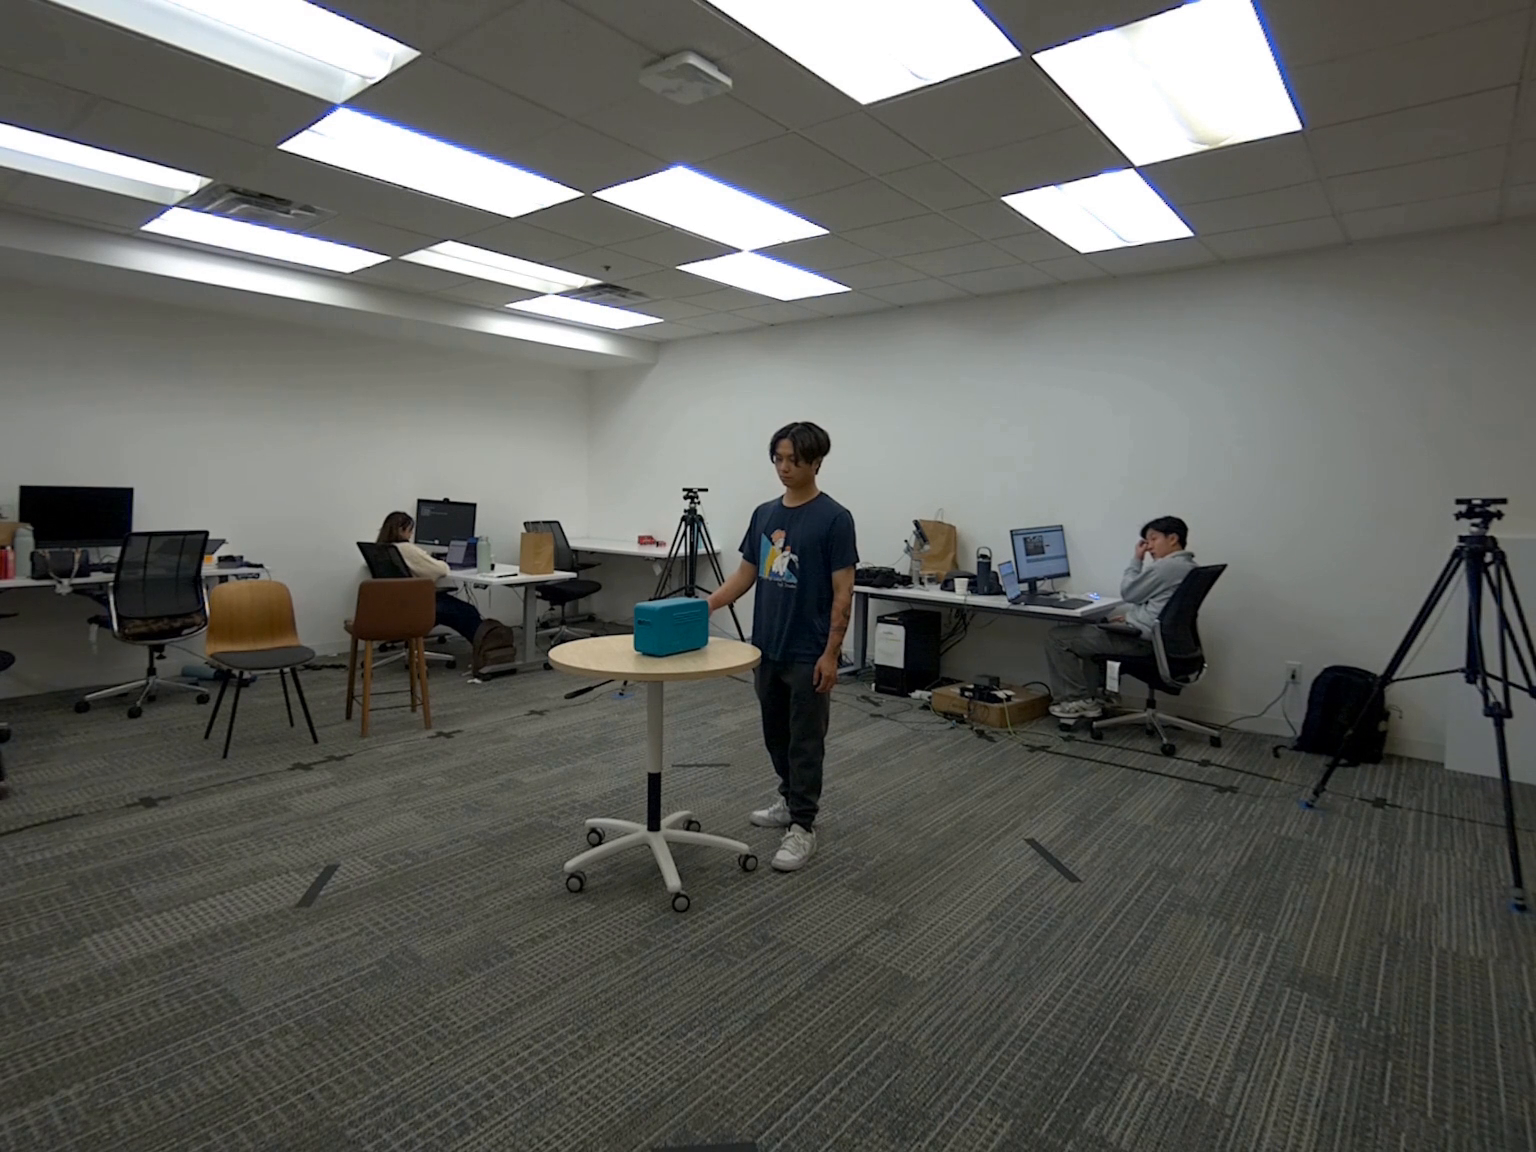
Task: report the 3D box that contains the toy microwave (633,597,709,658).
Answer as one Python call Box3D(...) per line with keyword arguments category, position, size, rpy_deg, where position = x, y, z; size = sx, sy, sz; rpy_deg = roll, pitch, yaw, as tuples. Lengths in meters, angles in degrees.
Box3D(category="toy microwave", position=(-0.373, 0.180, 3.088), size=(0.157, 0.184, 0.278), rpy_deg=(3, 4, 31))
